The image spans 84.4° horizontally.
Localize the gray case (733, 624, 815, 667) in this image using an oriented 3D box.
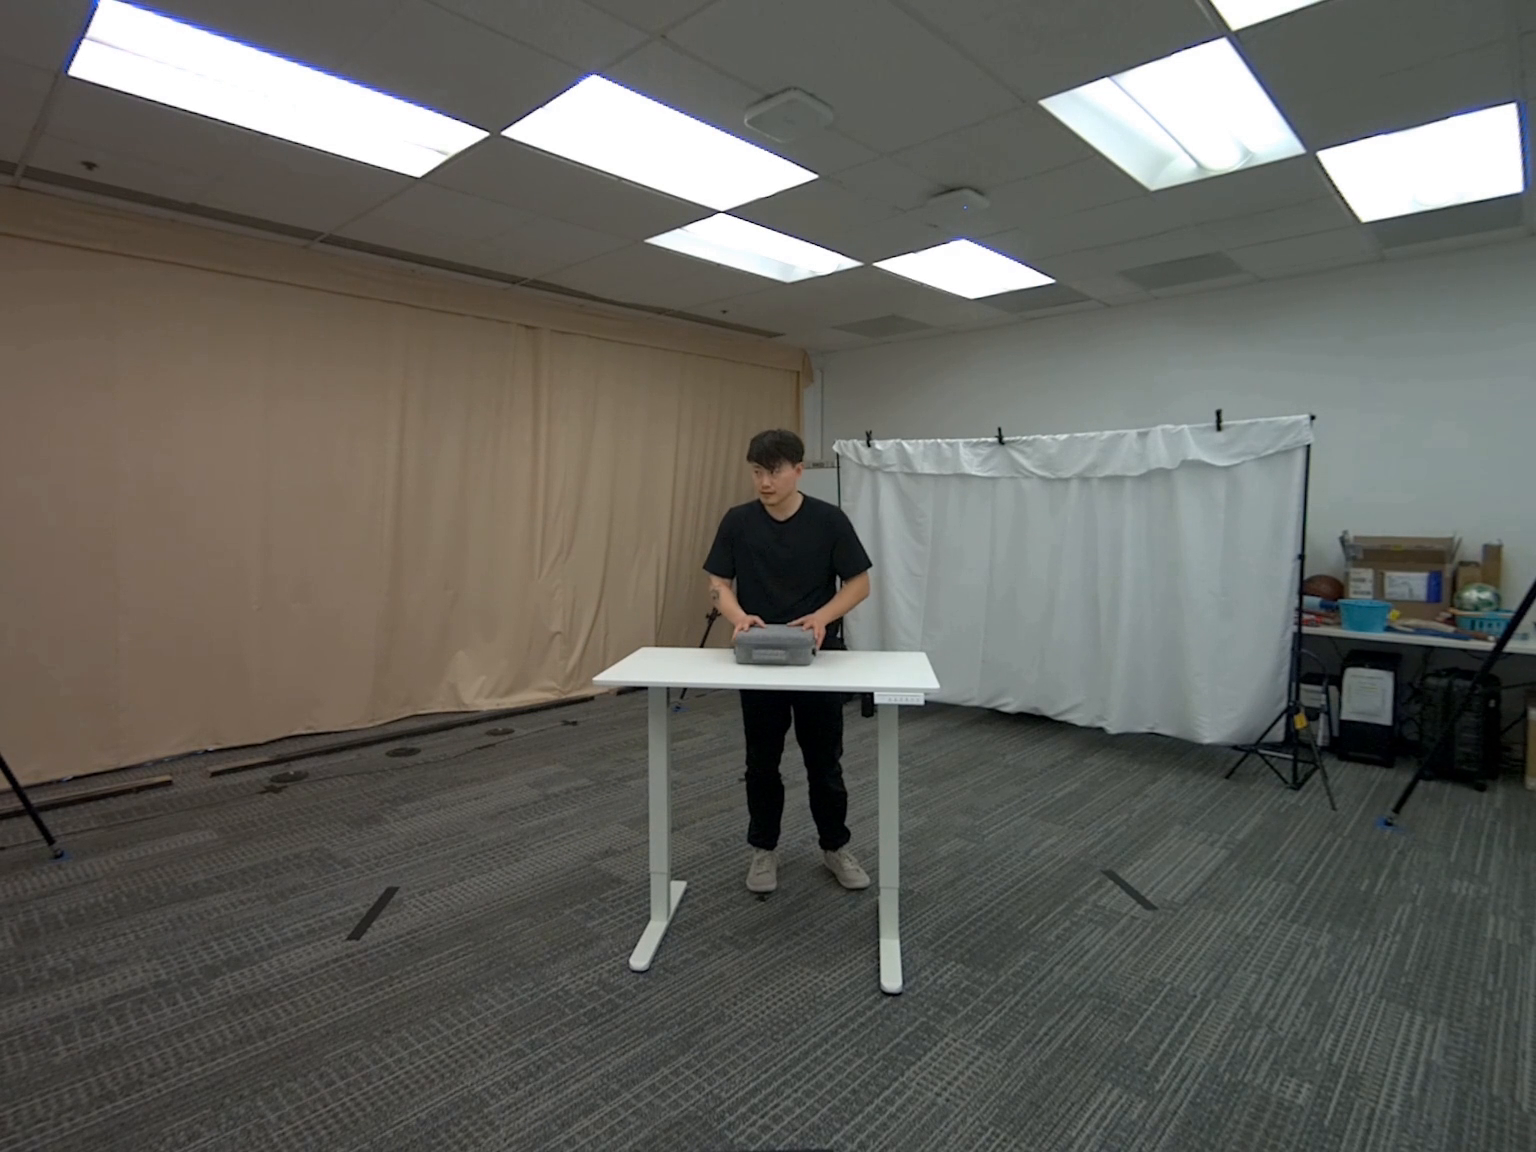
[{"bbox_3d":[0.032,0.227,2.793,0.261,0.104,0.257,2,4,12],"label":"gray case"}]
